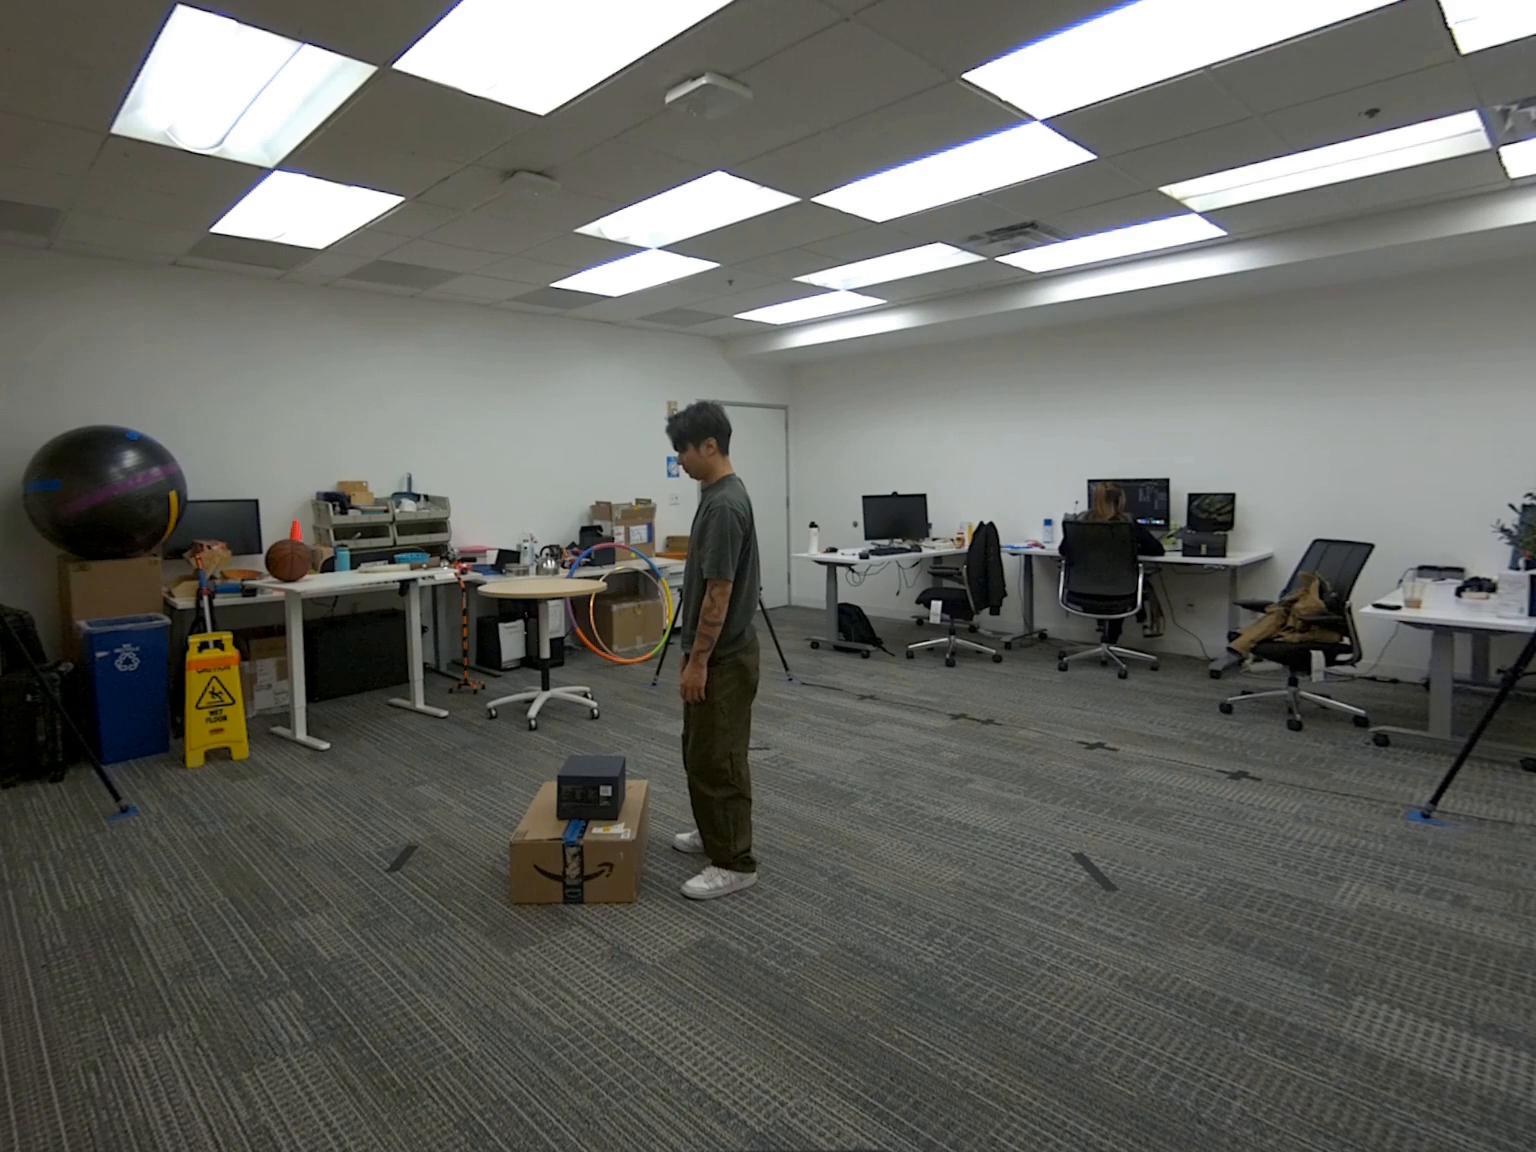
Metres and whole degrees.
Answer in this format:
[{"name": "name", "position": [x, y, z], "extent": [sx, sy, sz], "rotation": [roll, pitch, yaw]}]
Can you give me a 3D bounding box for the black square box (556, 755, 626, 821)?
[{"name": "black square box", "position": [-0.637, 0.759, 3.086], "extent": [0.217, 0.155, 0.229], "rotation": [0, 6, -1]}]
